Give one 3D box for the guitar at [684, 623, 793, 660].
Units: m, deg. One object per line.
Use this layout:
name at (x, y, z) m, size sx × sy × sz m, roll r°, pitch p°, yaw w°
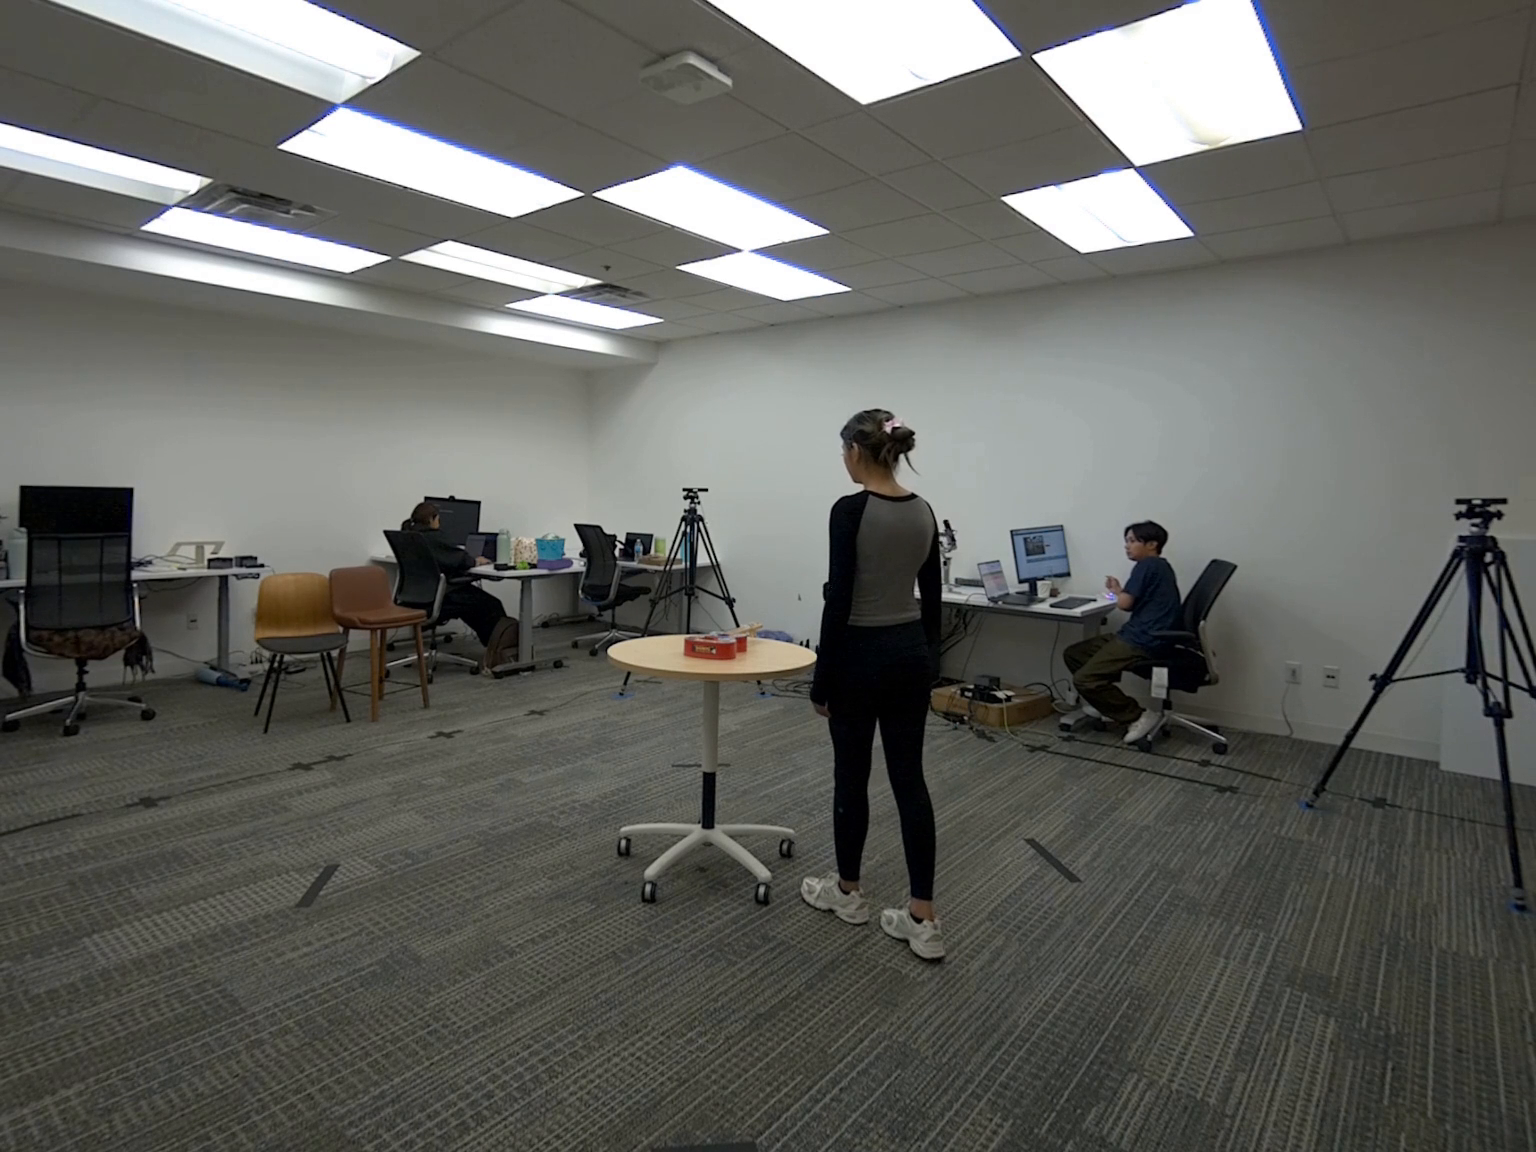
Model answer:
guitar at (-0.125, 0.240, 3.184) m, size 0.199 × 0.070 × 0.485 m, roll 5°, pitch 7°, yaw 31°
